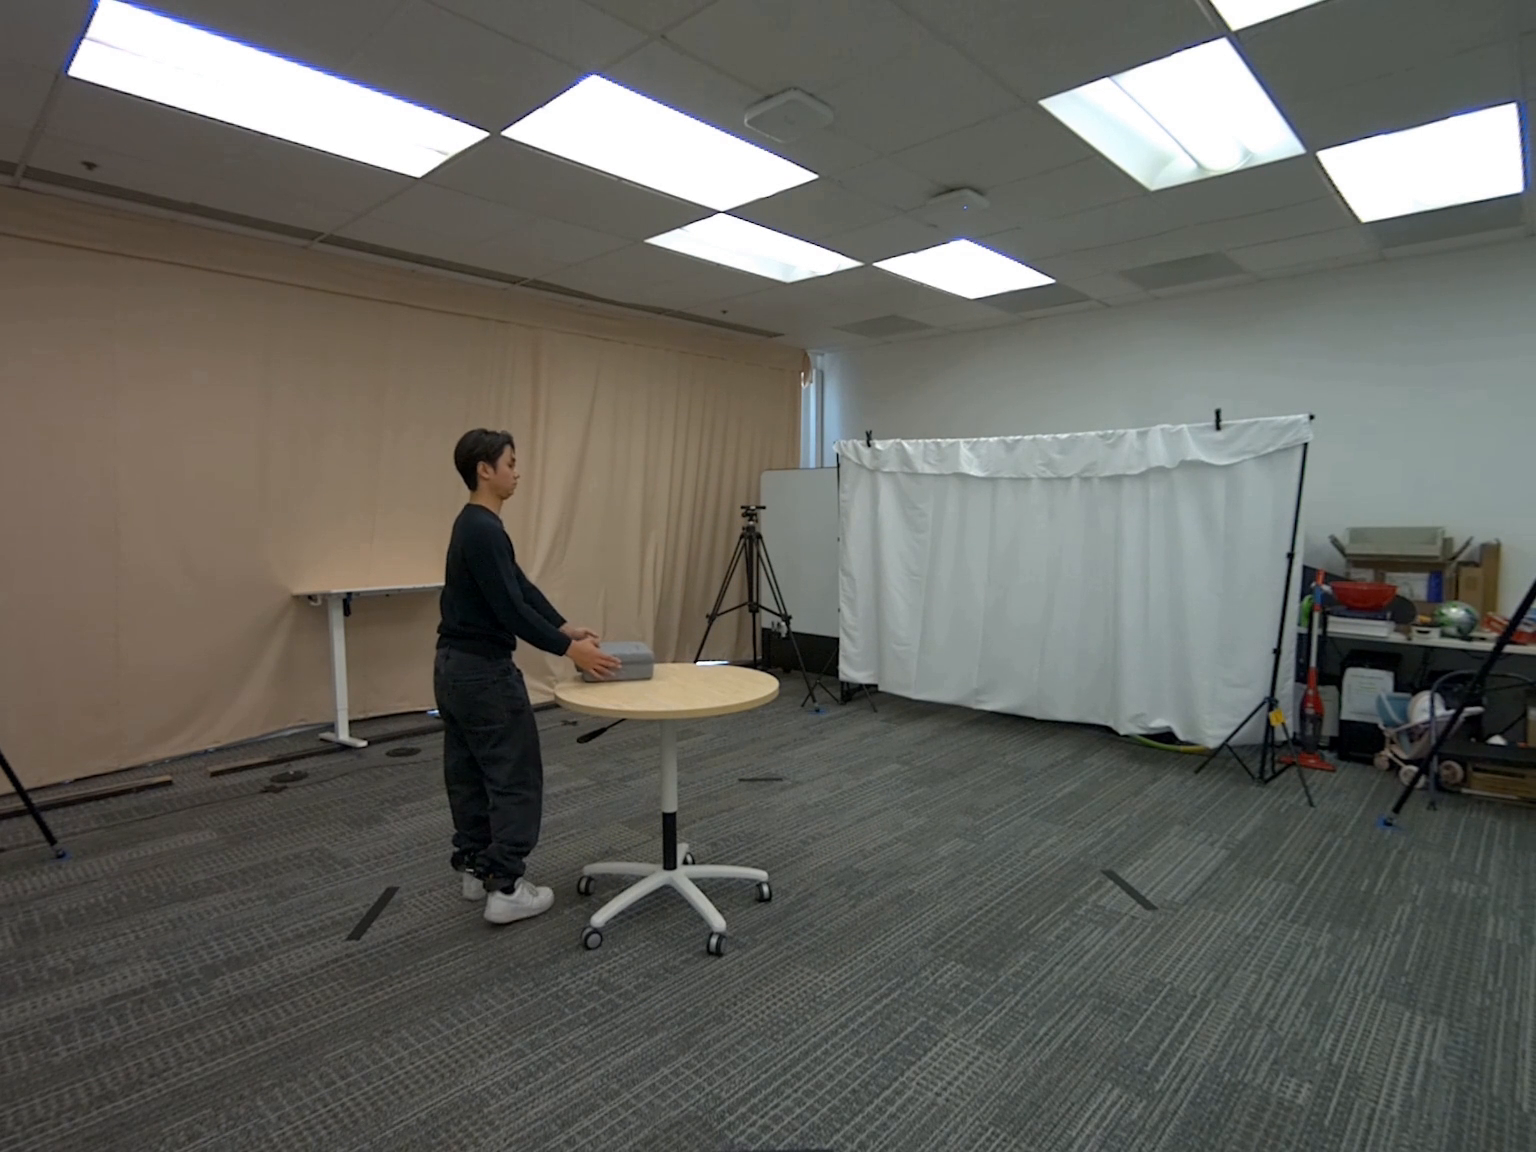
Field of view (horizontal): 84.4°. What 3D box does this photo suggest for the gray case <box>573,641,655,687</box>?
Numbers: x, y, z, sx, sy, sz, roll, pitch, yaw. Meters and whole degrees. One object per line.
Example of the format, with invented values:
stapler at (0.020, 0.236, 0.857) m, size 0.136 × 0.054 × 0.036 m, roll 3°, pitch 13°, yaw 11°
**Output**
gray case at (-0.558, 0.309, 3.026) m, size 0.257 × 0.104 × 0.261 m, roll 0°, pitch 5°, yaw -15°
